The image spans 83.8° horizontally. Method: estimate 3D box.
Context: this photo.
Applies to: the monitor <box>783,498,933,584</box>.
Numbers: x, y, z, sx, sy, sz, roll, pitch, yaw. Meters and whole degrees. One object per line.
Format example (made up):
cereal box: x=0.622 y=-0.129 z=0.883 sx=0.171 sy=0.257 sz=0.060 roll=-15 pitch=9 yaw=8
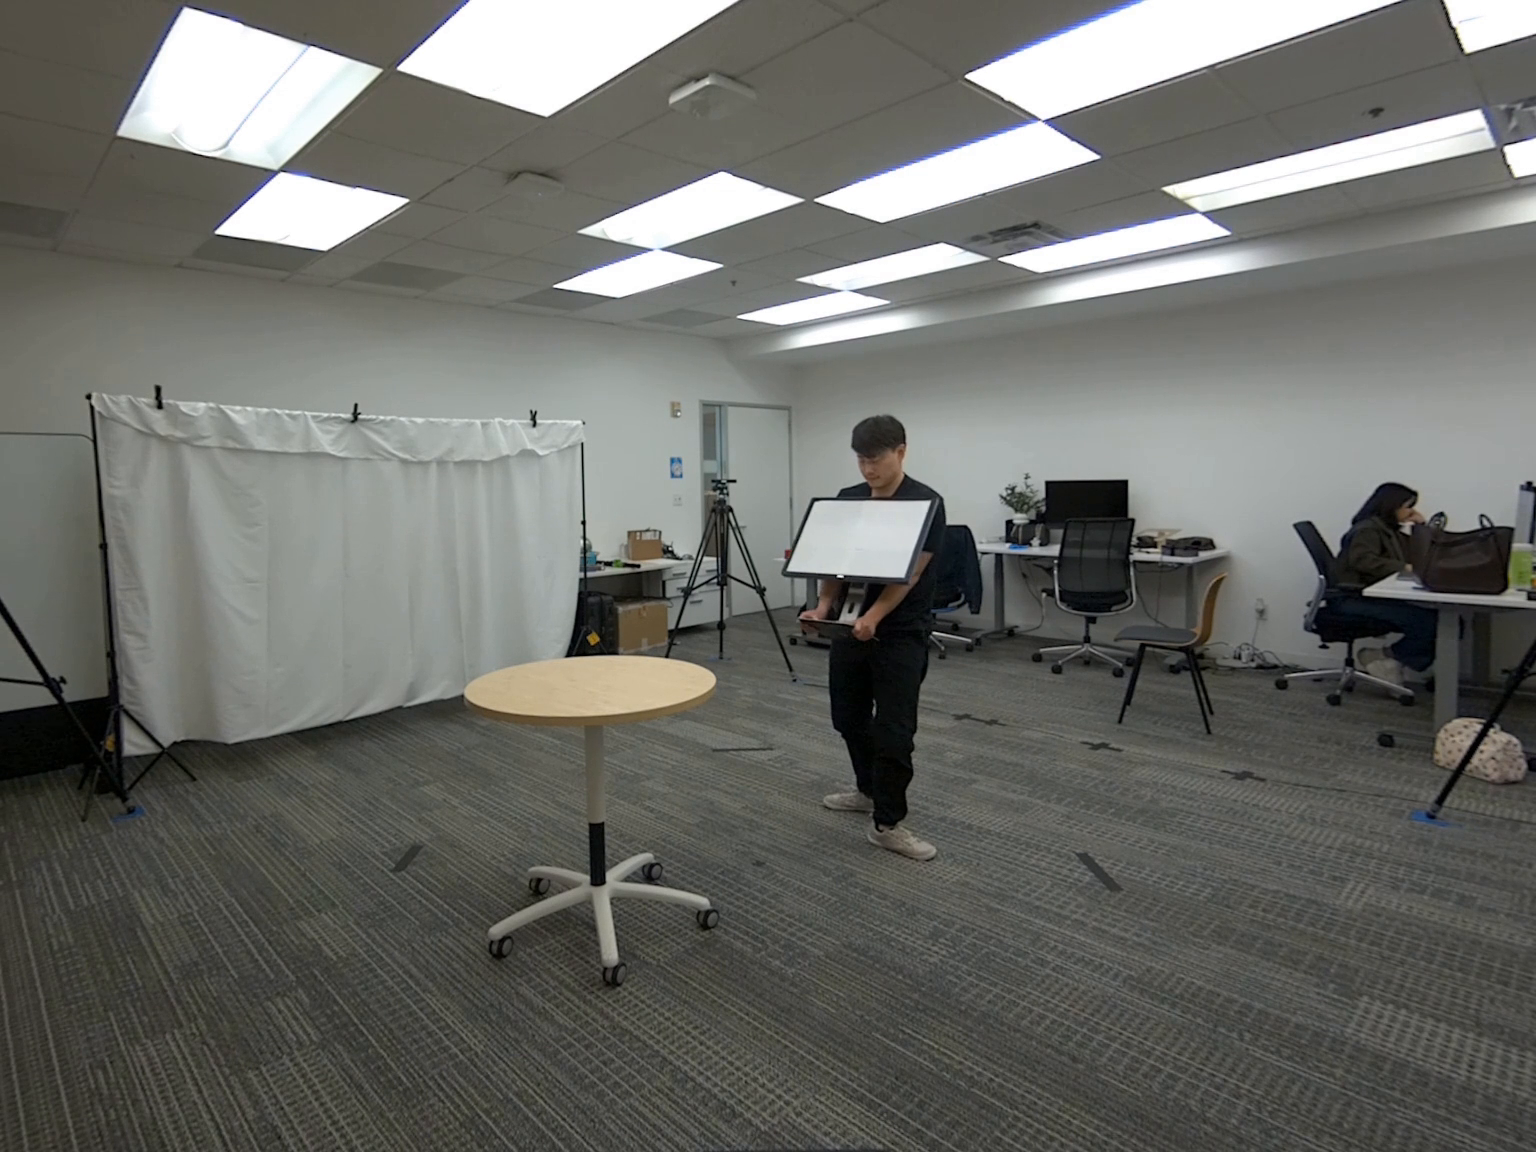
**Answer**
monitor: x=0.320 y=-0.049 z=3.191 sx=0.555 sy=0.527 sz=0.180 roll=4 pitch=-19 yaw=39
